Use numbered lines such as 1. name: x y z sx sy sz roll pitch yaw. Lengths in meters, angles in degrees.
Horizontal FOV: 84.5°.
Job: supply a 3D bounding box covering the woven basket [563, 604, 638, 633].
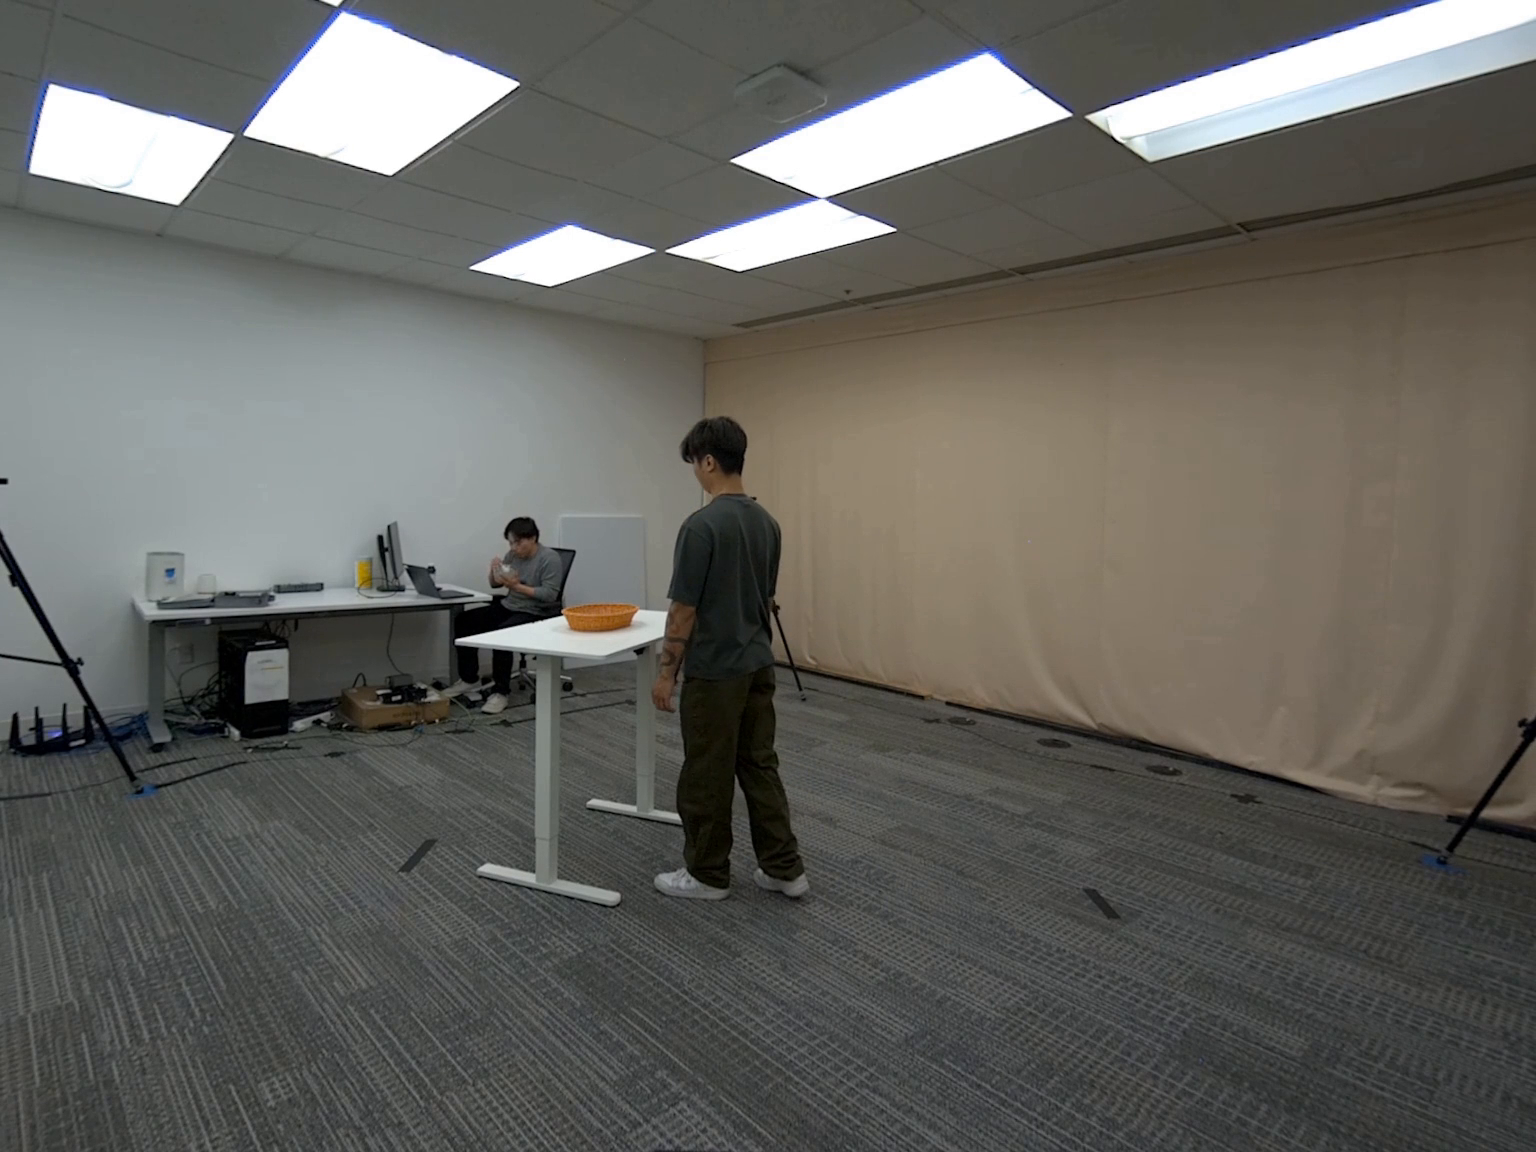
1. woven basket: -0.670 0.168 3.281 0.257 0.073 0.345 3 6 23
